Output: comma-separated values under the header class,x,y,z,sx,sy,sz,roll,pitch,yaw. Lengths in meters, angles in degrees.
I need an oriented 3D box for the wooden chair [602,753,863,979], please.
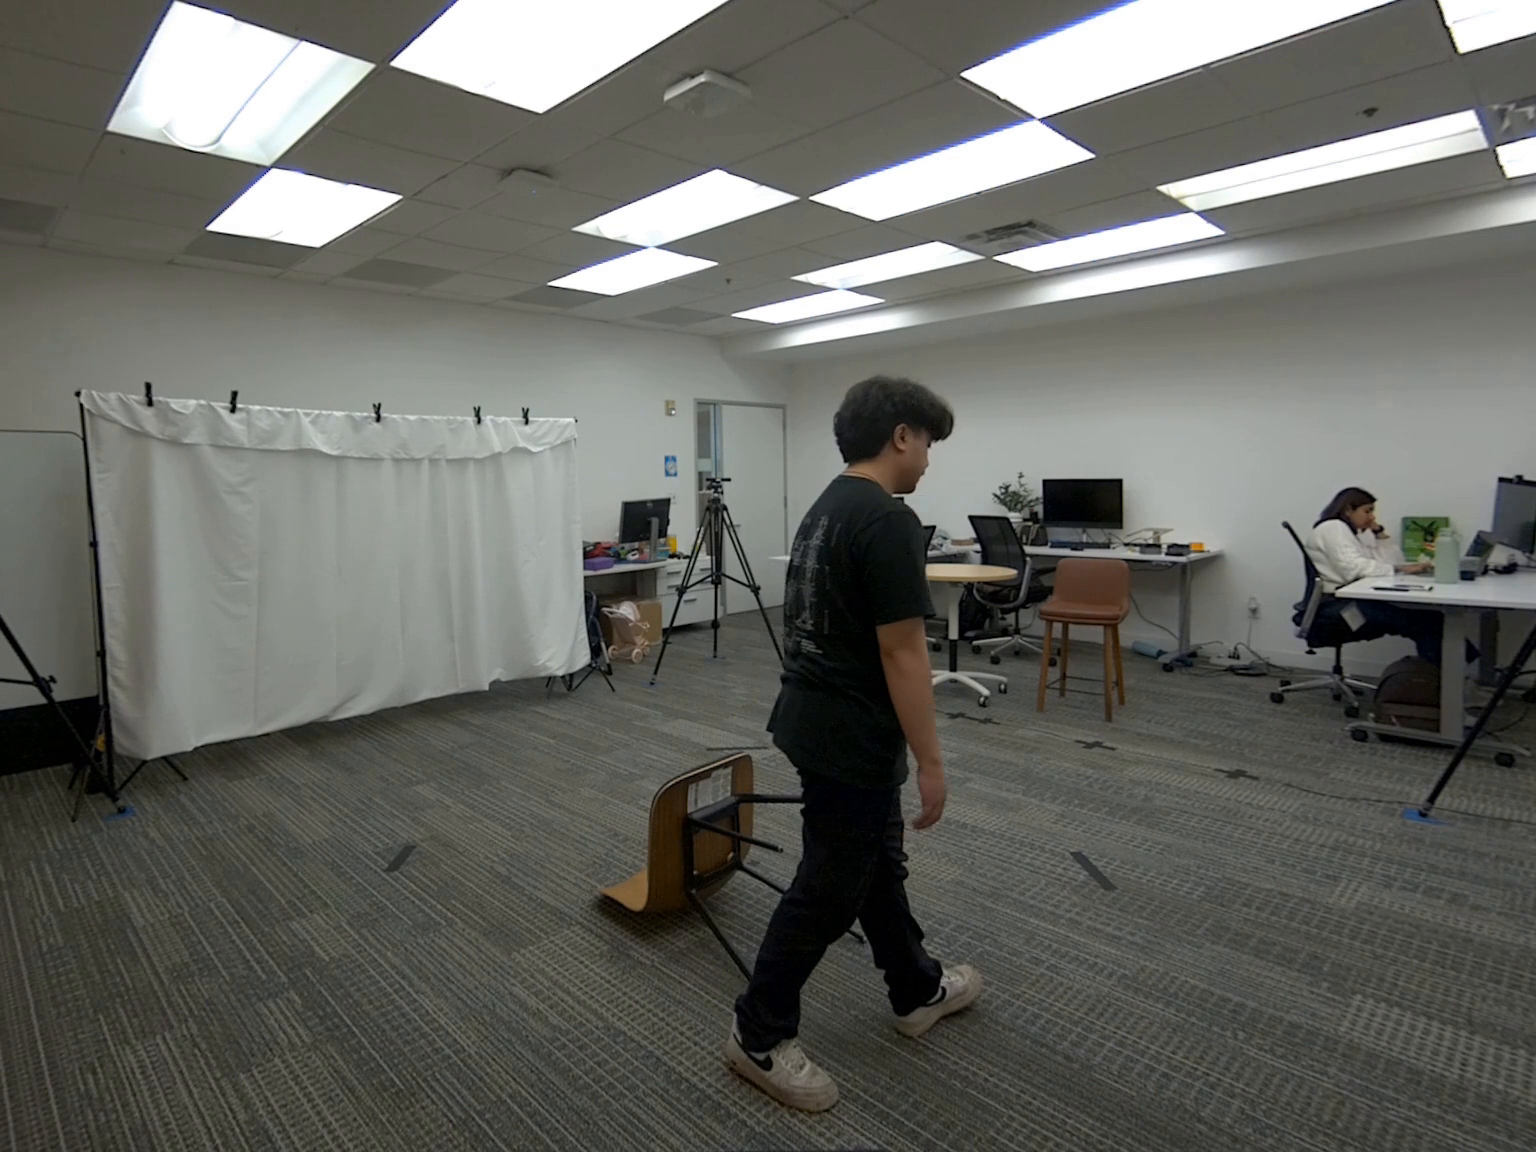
class,x,y,z,sx,sy,sz,roll,pitch,yaw
wooden chair,-0.164,0.838,2.665,0.904,0.521,0.466,3,7,41
